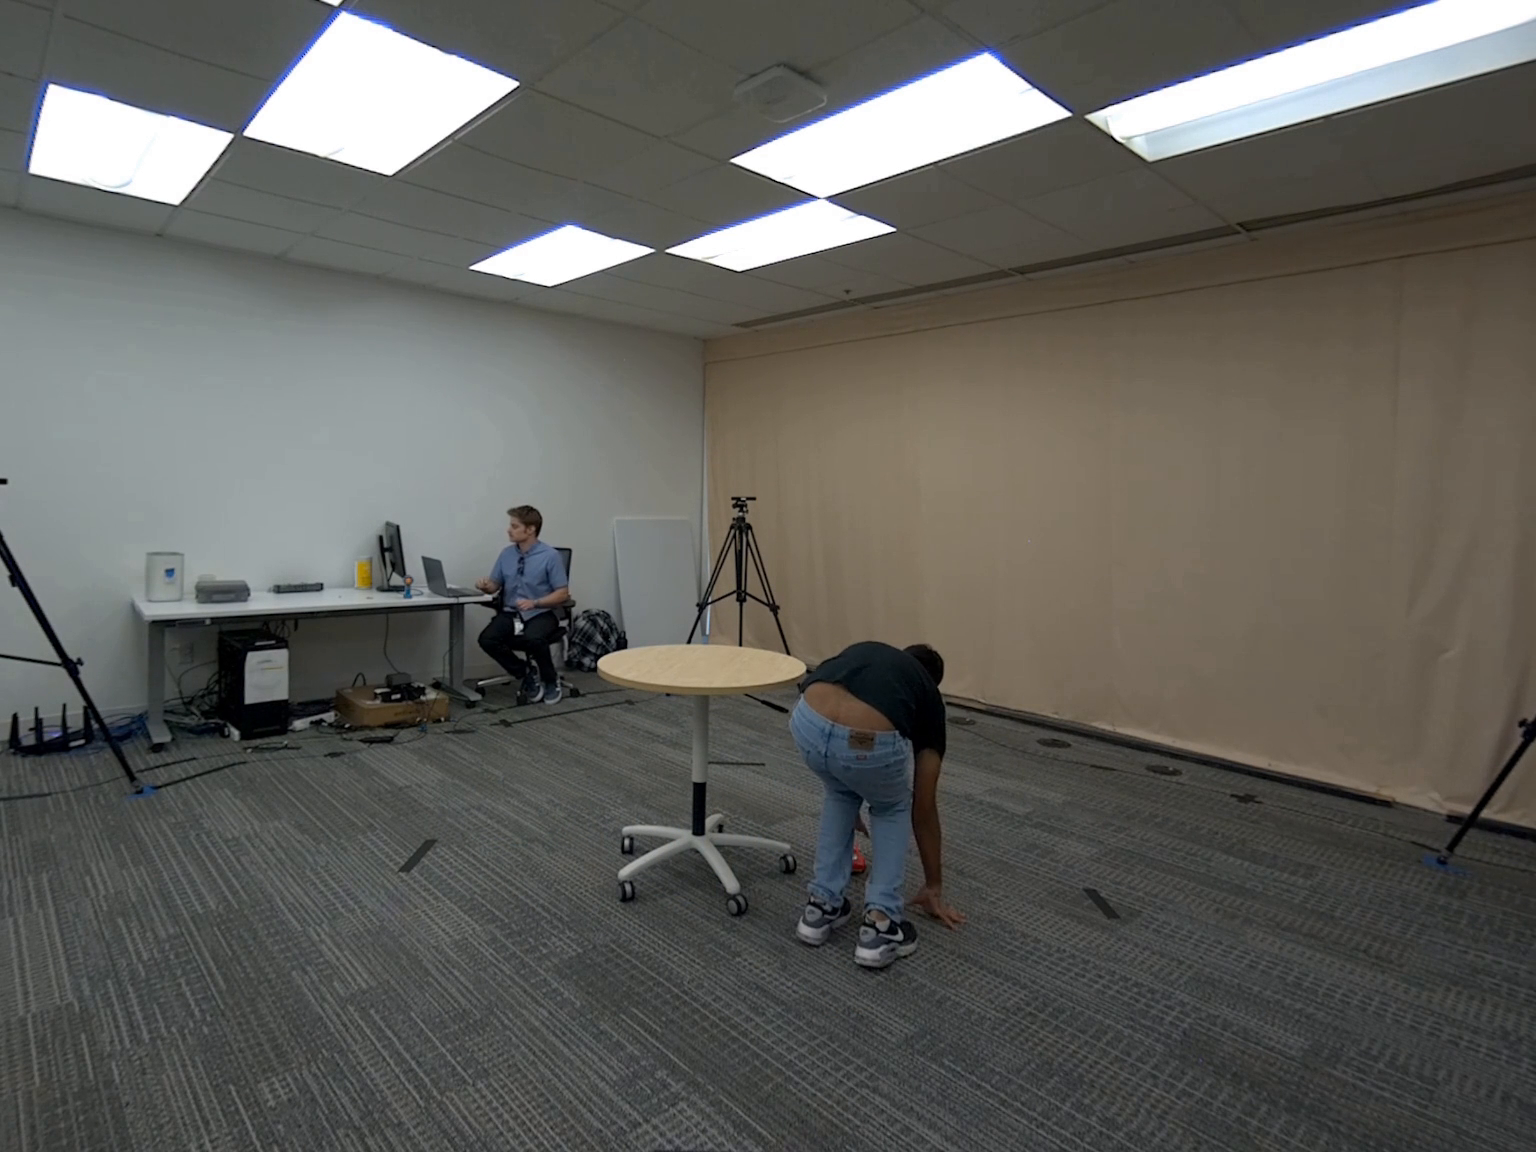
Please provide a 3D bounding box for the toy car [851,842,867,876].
[{"bbox_3d":[0.310,1.076,3.224,0.130,0.084,0.253,1,-7,-1],"label":"toy car"}]
